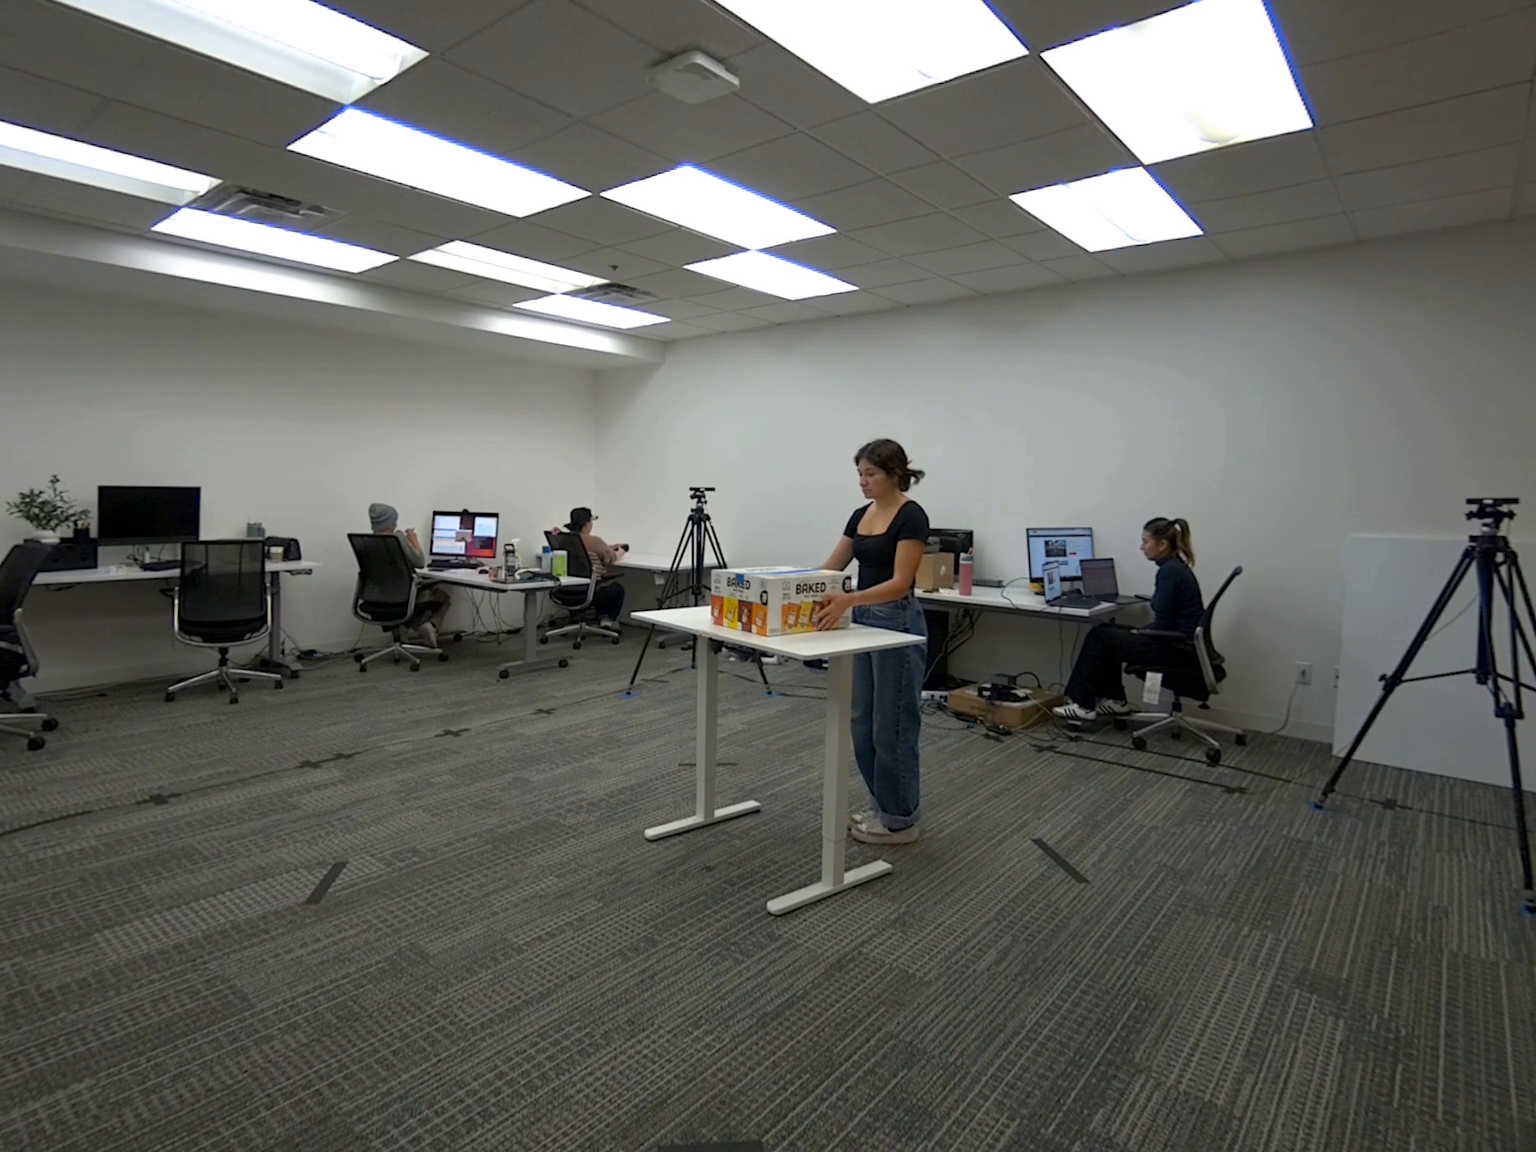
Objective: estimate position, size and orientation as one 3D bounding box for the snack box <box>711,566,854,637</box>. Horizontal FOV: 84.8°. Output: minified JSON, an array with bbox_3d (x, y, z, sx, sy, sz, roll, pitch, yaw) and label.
[{"bbox_3d":[0.036,0.080,3.176,0.393,0.205,0.352,-3,7,-39],"label":"snack box"}]
